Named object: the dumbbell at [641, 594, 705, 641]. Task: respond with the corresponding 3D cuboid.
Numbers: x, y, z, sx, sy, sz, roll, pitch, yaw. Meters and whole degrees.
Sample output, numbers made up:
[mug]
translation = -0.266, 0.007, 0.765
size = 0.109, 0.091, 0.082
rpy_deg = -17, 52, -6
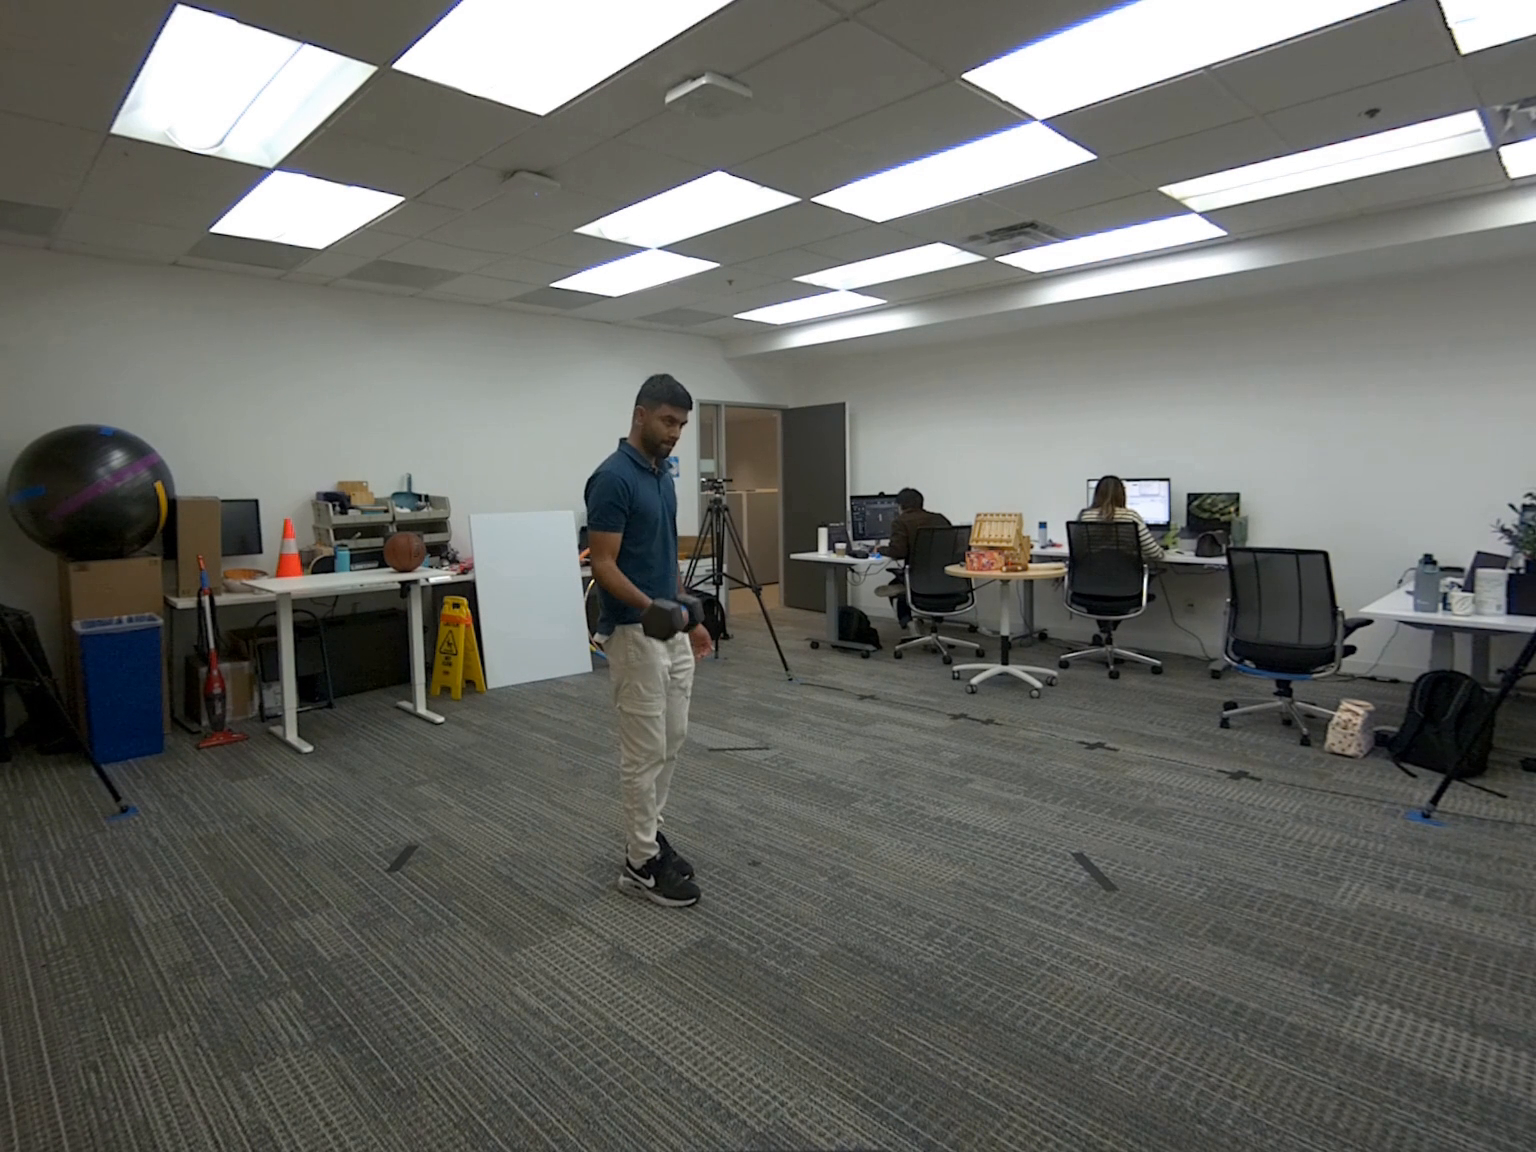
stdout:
[dumbbell]
translation = -0.293, 0.114, 2.560
size = 0.123, 0.110, 0.290
rpy_deg = -44, -6, 8
